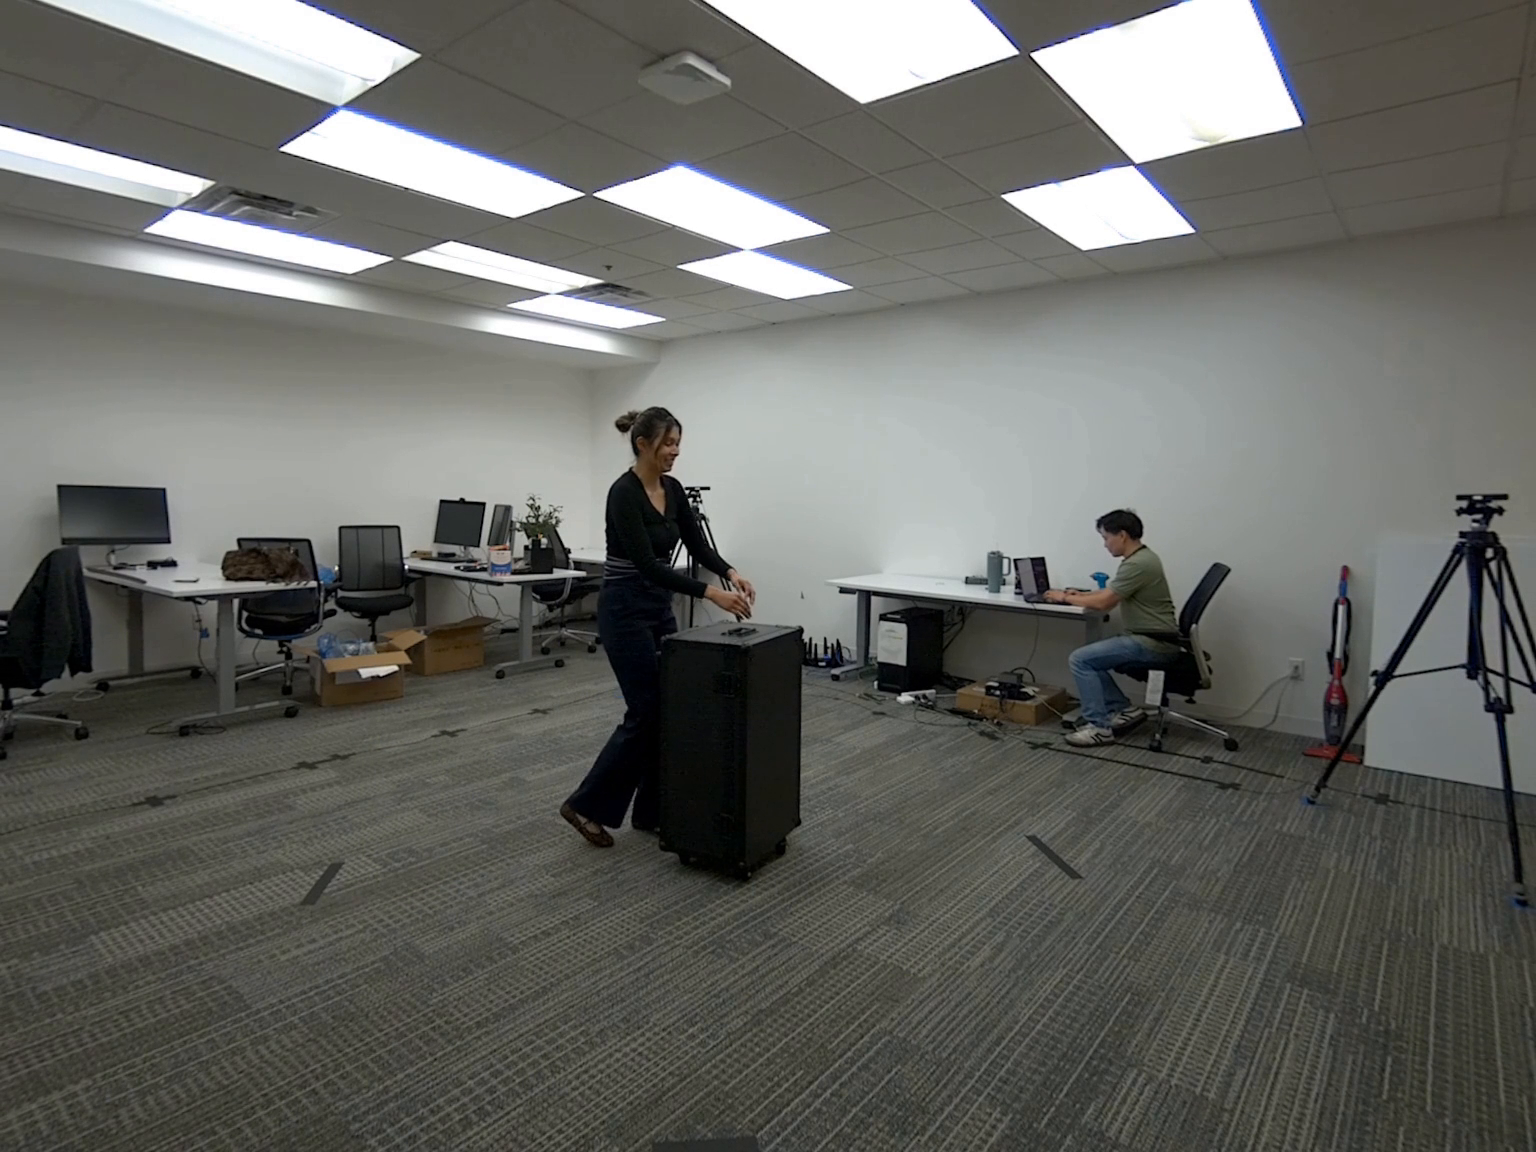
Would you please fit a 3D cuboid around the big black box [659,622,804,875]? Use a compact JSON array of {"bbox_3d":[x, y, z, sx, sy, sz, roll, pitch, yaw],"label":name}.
[{"bbox_3d":[-0.148,0.631,3.203,0.407,0.859,0.509,0,3,27],"label":"big black box"}]
